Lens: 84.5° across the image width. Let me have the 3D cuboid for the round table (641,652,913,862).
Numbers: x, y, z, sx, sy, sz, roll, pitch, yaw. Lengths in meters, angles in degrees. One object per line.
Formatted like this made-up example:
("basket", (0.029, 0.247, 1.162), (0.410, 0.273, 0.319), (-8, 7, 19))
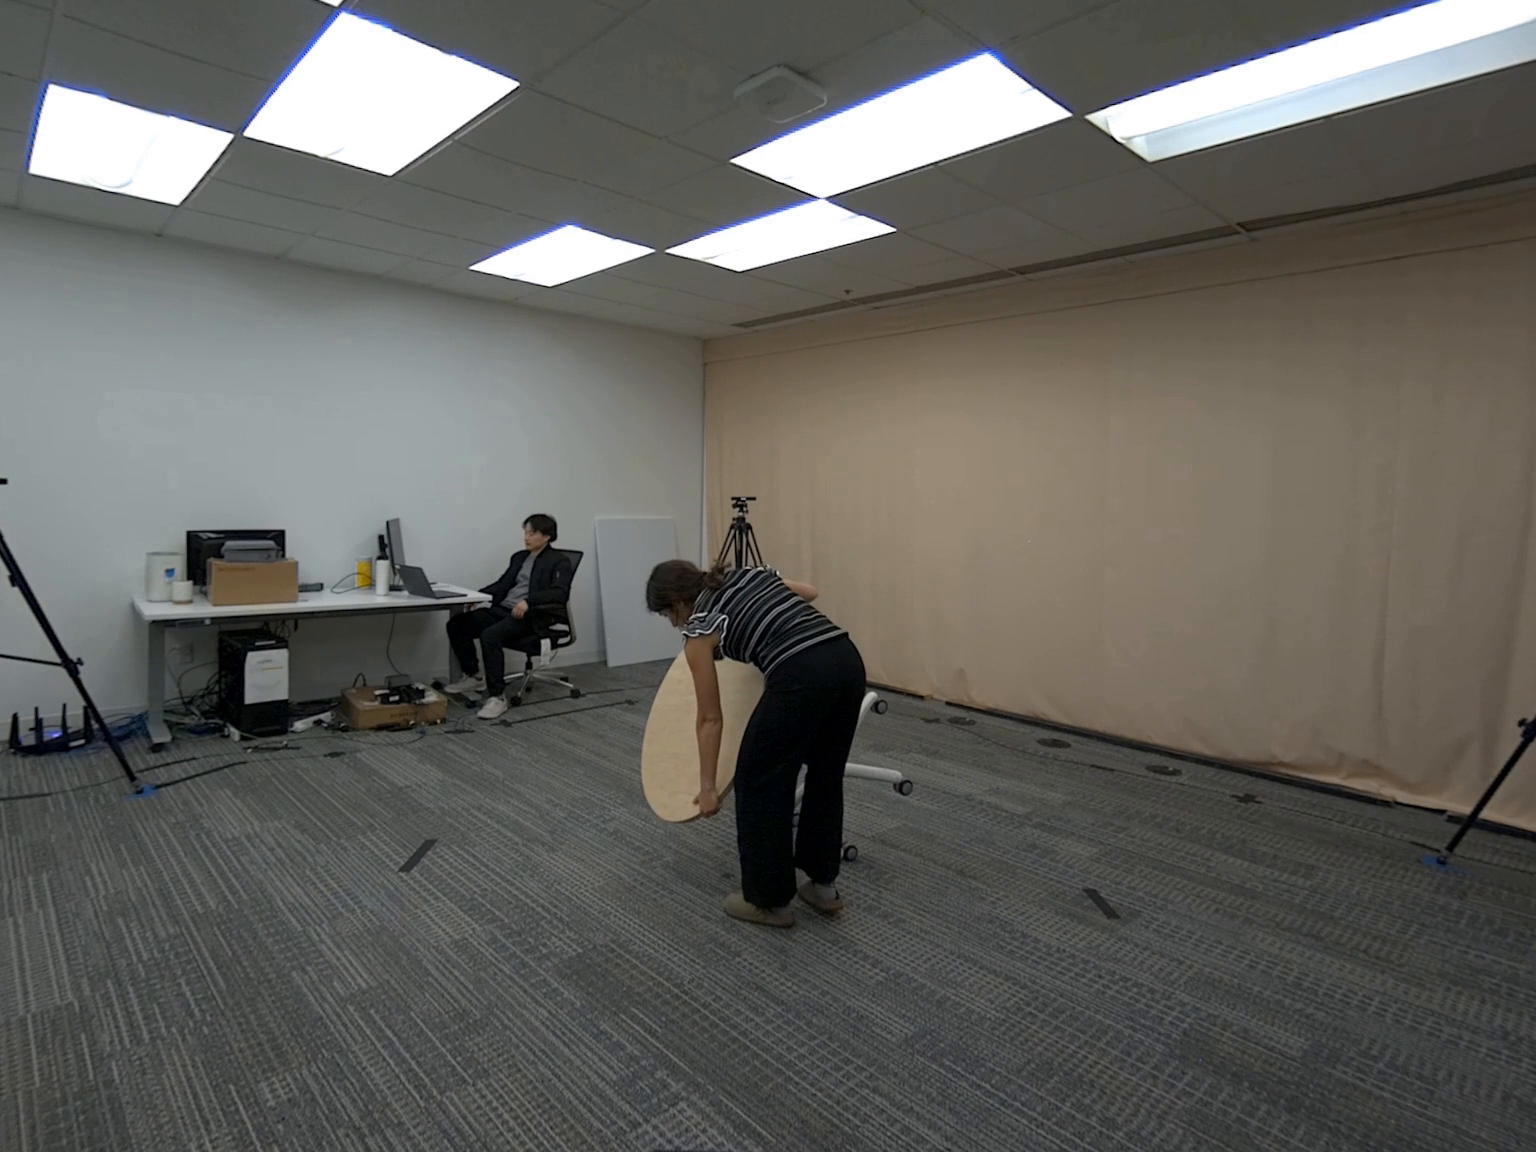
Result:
("round table", (0.038, 0.671, 3.300), (0.774, 0.766, 0.781), (27, -9, -29))
